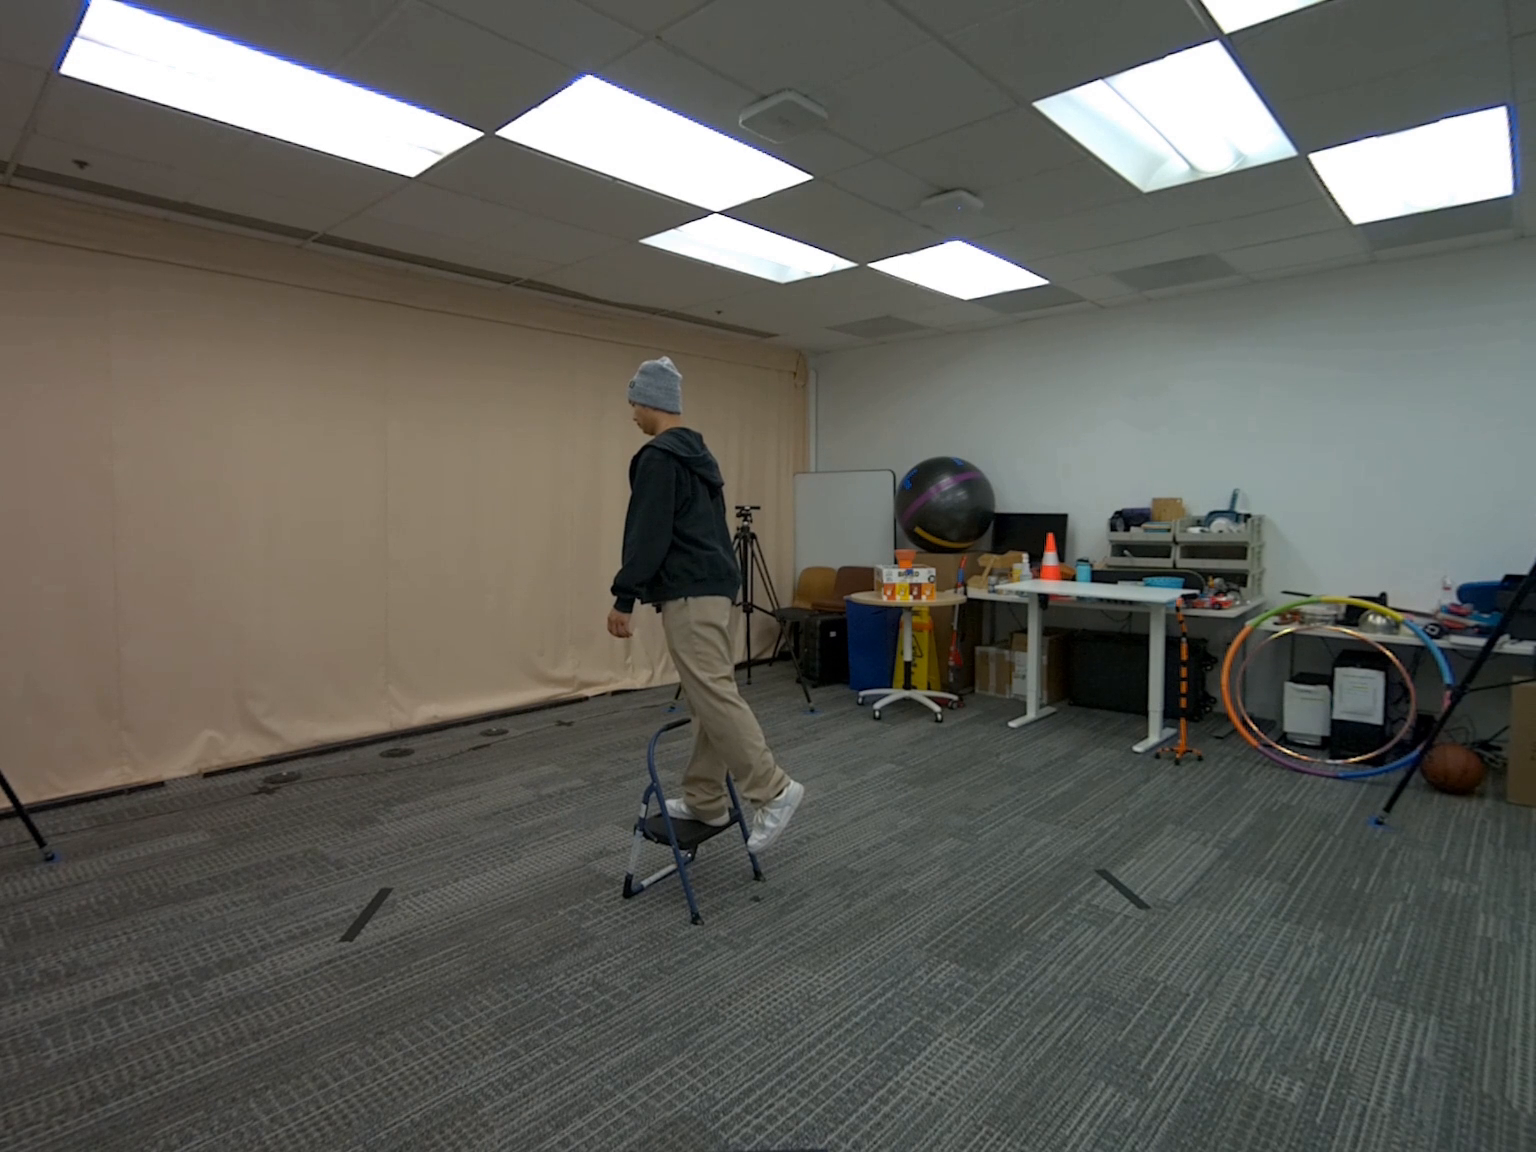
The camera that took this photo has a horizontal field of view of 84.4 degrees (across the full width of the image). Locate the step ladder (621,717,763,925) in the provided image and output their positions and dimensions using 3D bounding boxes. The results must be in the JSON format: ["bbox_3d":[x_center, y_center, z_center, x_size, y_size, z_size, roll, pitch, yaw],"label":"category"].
[{"bbox_3d":[-0.269,0.839,3.054,0.360,0.605,0.419,1,4,32],"label":"step ladder"}]
